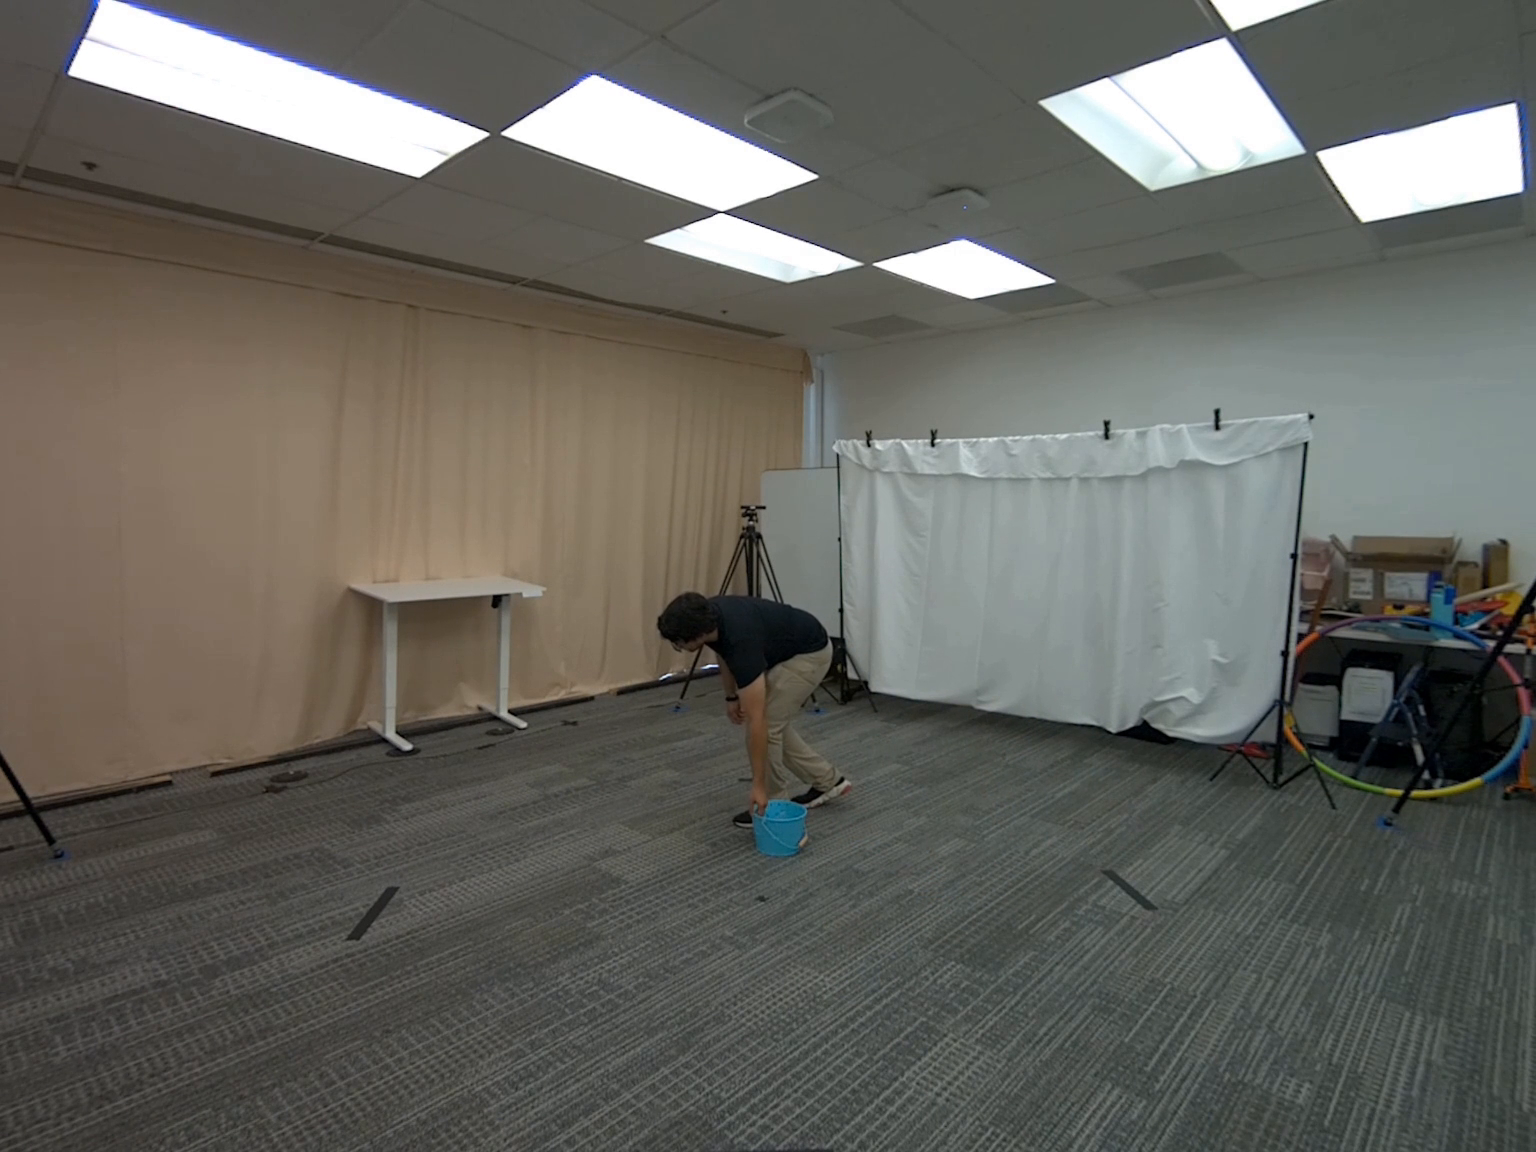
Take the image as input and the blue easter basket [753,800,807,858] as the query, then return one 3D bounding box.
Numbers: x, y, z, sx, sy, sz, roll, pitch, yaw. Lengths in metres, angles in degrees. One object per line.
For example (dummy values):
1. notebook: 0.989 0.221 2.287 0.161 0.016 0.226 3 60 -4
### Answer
1. blue easter basket: 0.039 1.025 3.430 0.243 0.155 0.244 -1 4 -2
